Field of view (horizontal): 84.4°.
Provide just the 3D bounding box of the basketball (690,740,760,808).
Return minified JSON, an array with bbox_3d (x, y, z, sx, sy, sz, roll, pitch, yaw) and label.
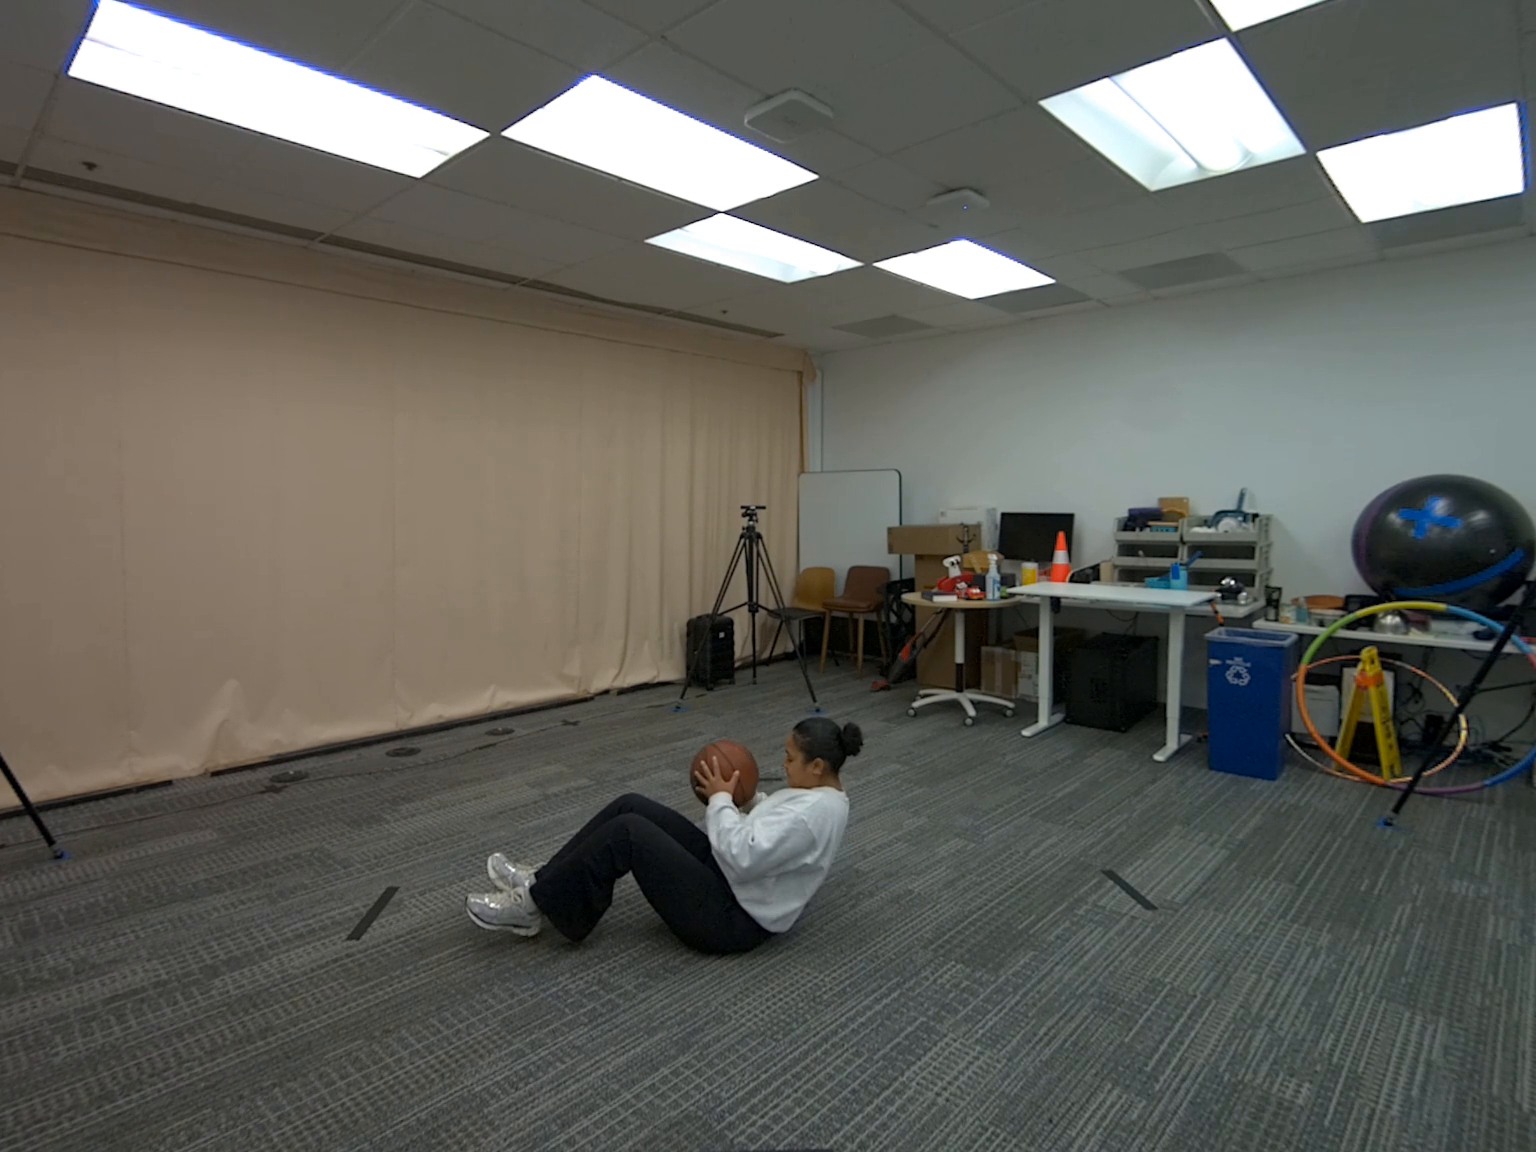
[{"bbox_3d":[-0.136,0.707,2.908,0.236,0.235,0.237,0,4,-2],"label":"basketball"}]
